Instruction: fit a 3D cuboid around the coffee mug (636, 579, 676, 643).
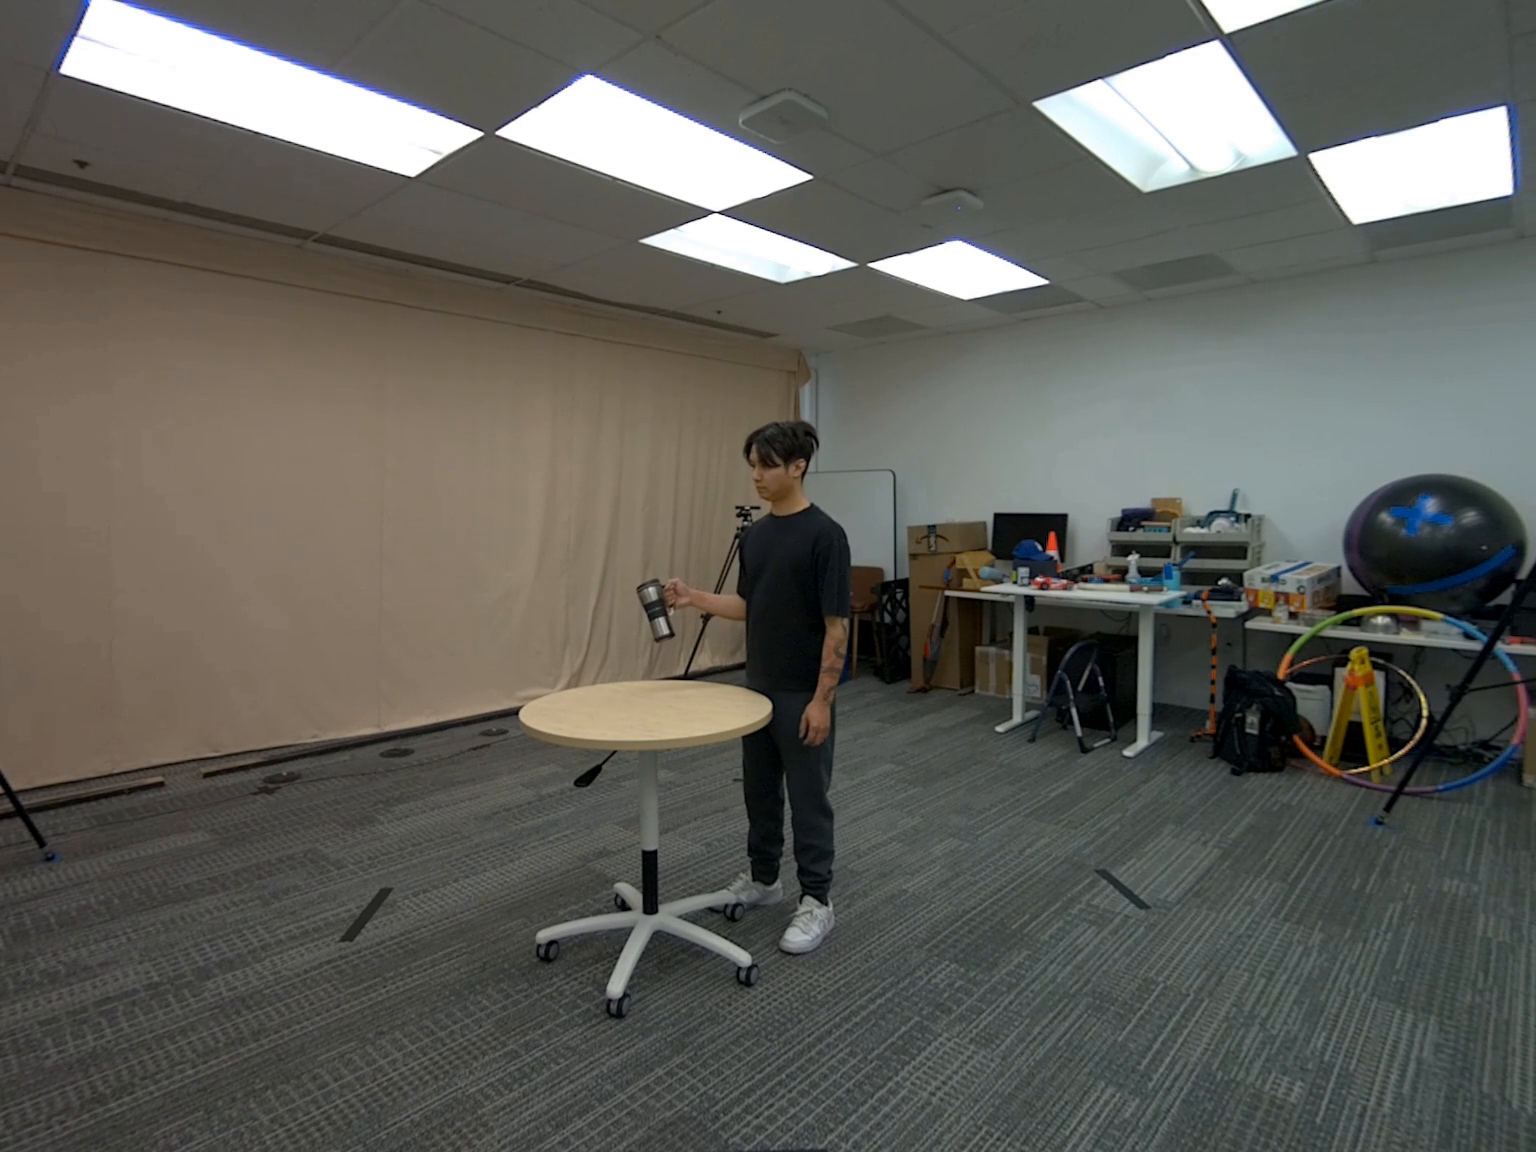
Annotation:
[{"bbox_3d":[-0.359,0.118,2.872,0.120,0.205,0.088,-18,-12,-20],"label":"coffee mug"}]
